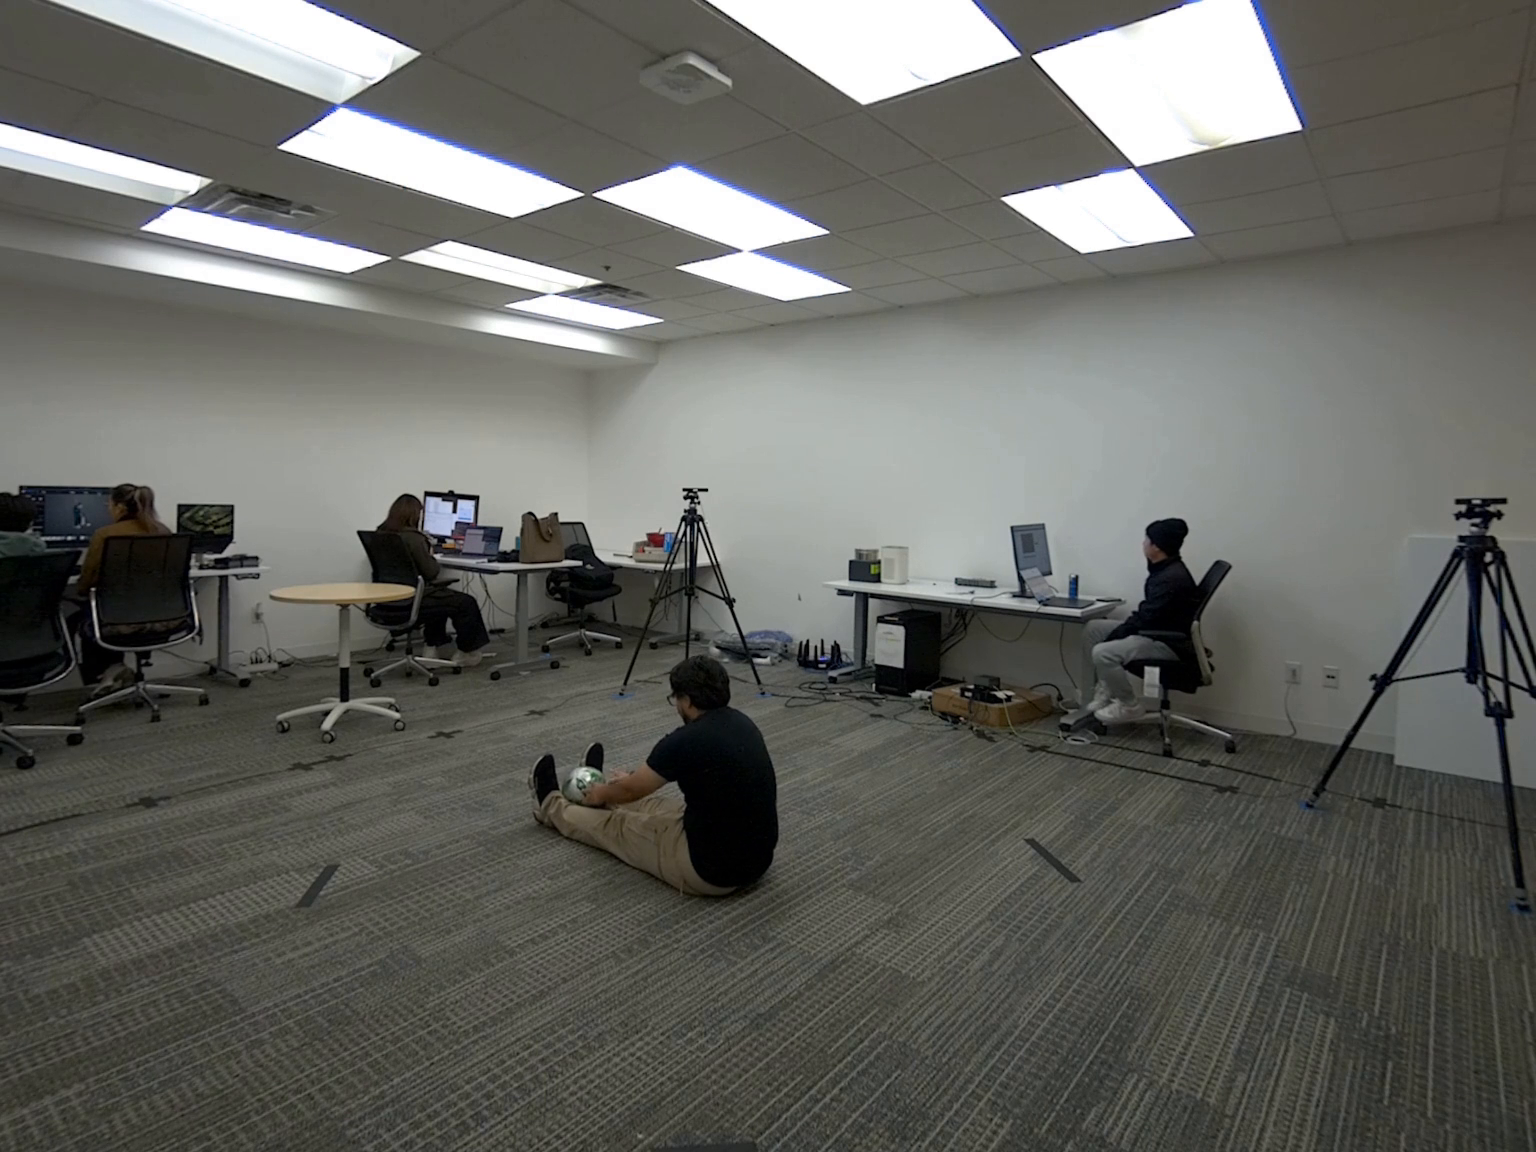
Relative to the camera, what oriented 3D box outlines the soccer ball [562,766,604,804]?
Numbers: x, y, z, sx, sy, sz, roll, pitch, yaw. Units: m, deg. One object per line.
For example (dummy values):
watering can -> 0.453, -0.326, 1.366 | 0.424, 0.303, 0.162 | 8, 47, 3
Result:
soccer ball -> -0.775, 0.883, 3.525 | 0.187, 0.187, 0.188 | 0, 4, -2
